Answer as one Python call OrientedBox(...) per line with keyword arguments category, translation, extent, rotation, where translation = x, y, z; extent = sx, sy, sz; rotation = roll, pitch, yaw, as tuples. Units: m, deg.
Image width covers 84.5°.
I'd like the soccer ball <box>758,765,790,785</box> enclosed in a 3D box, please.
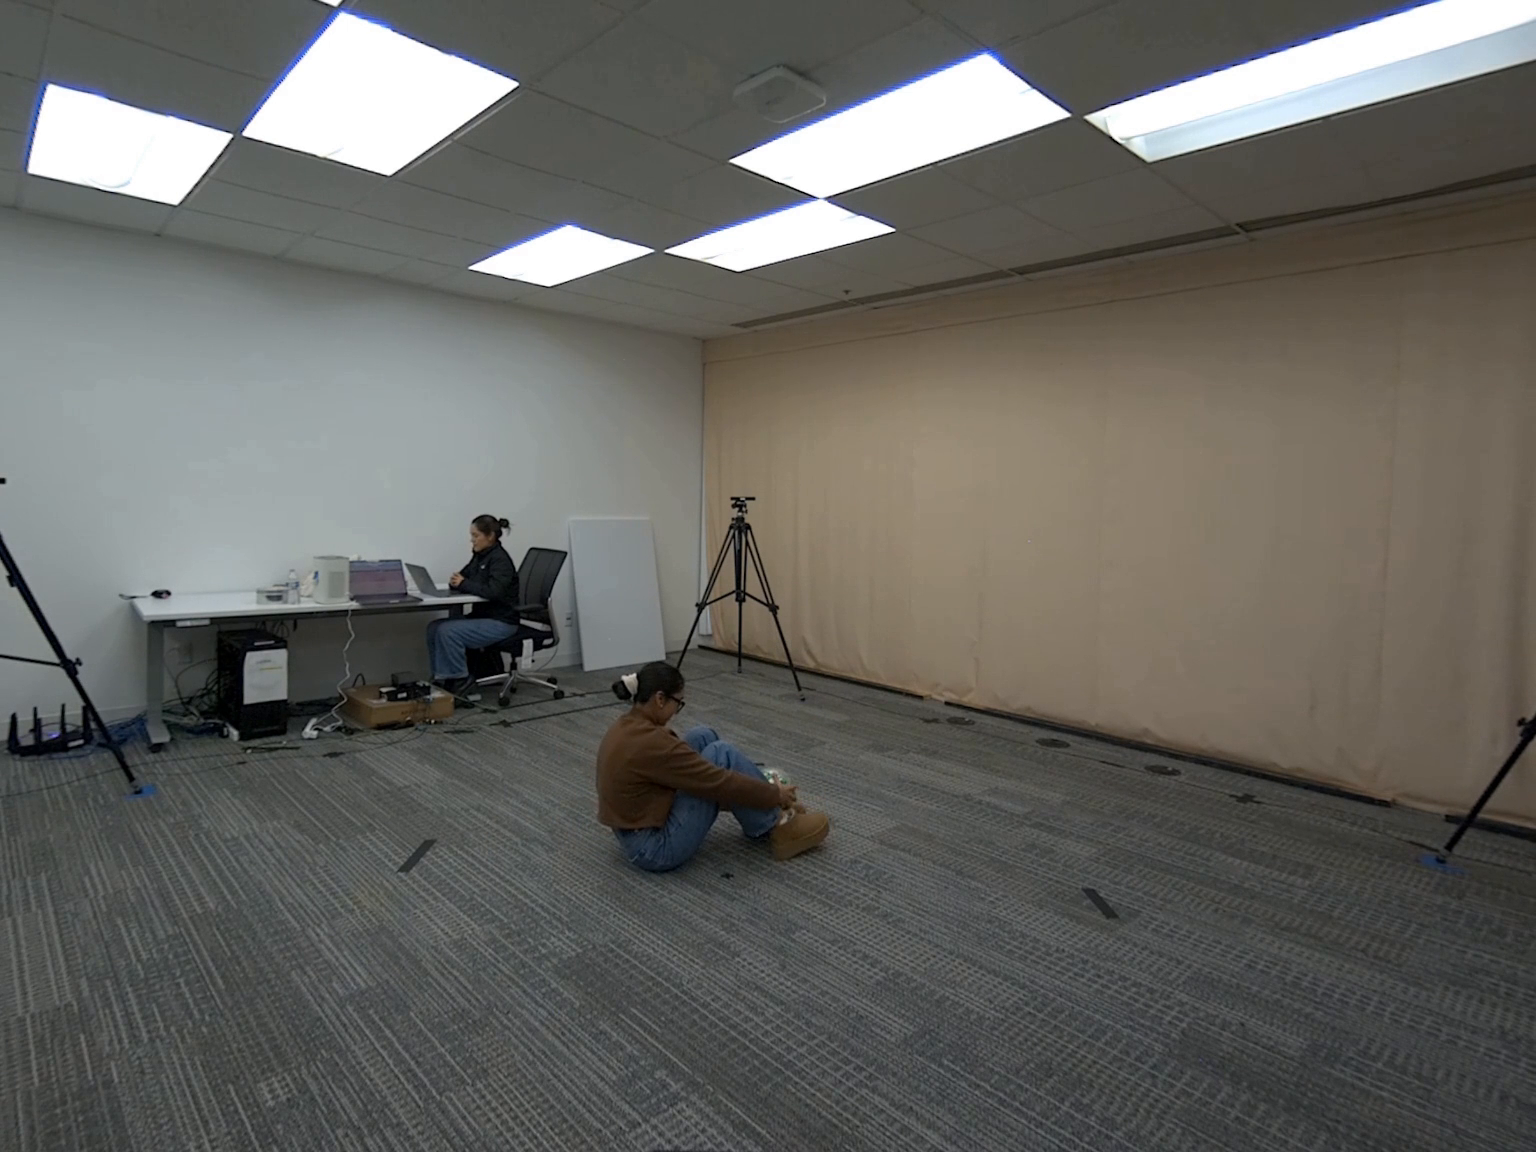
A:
OrientedBox(category="soccer ball", translation=(0.012, 0.873, 3.388), extent=(0.187, 0.187, 0.188), rotation=(1, 4, -1))
